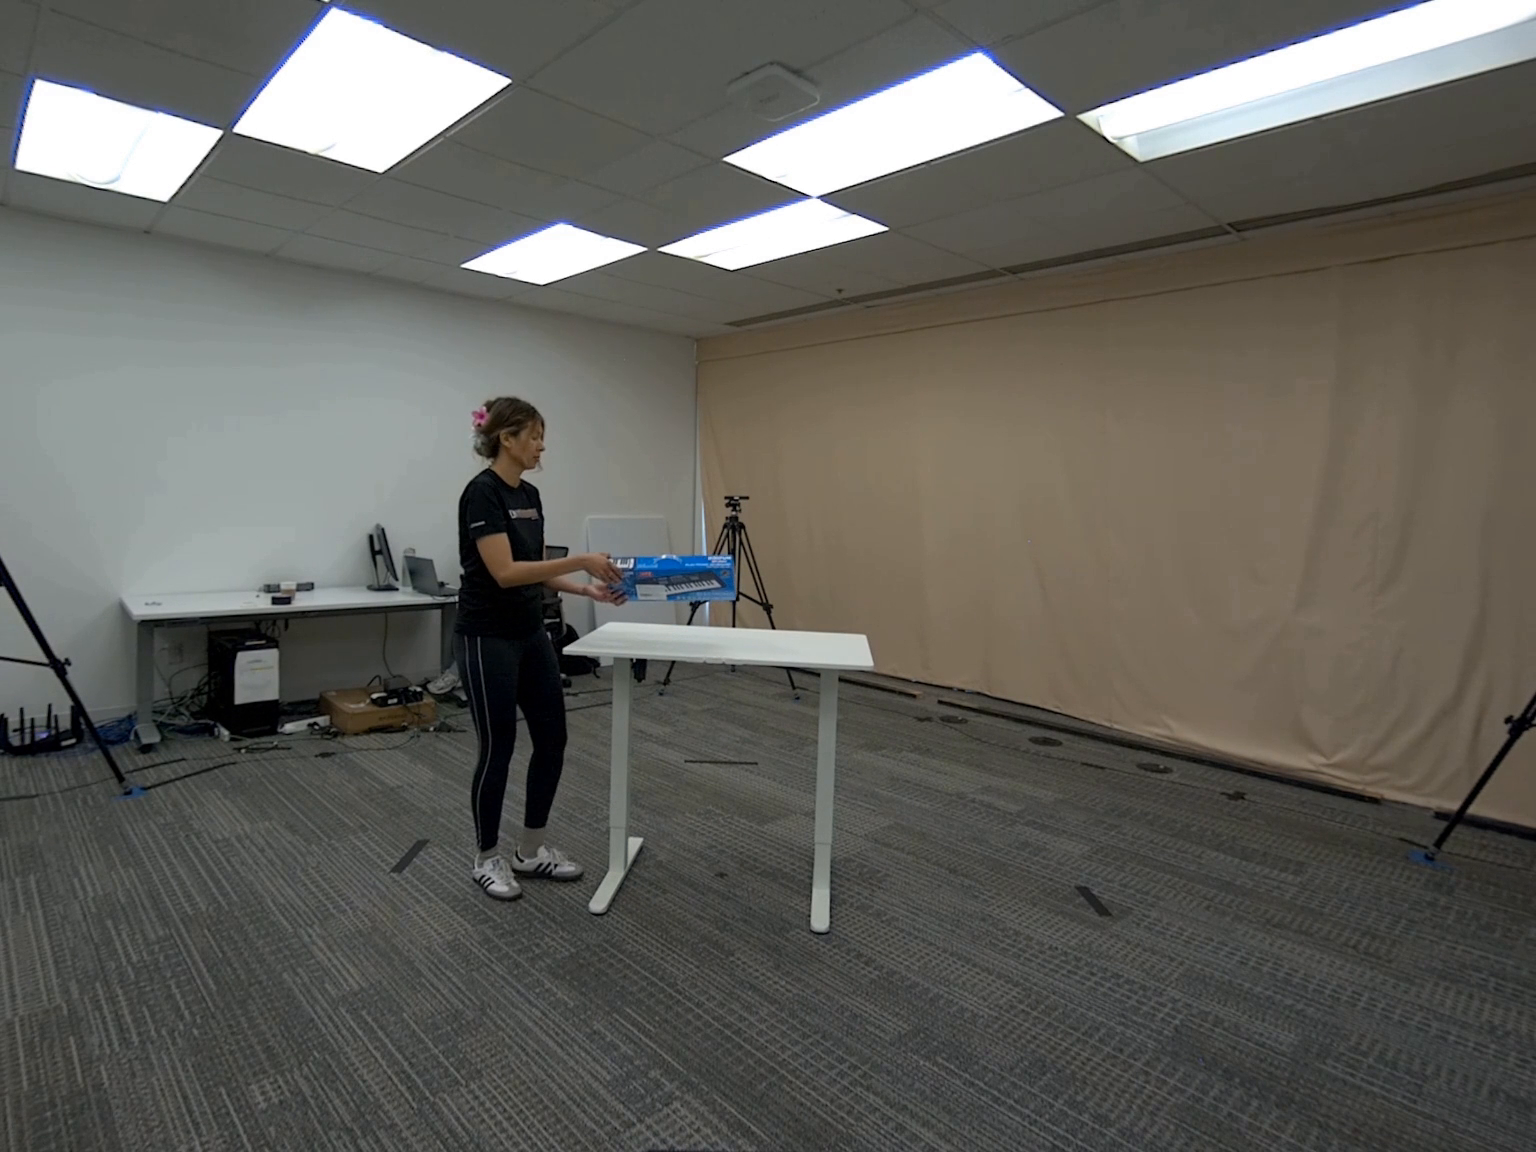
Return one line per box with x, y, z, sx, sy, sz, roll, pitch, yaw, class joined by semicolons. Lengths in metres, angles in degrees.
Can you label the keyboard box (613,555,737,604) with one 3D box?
-0.341;0.011;2.882;0.439;0.060;0.171;-1;-42;5;keyboard box
